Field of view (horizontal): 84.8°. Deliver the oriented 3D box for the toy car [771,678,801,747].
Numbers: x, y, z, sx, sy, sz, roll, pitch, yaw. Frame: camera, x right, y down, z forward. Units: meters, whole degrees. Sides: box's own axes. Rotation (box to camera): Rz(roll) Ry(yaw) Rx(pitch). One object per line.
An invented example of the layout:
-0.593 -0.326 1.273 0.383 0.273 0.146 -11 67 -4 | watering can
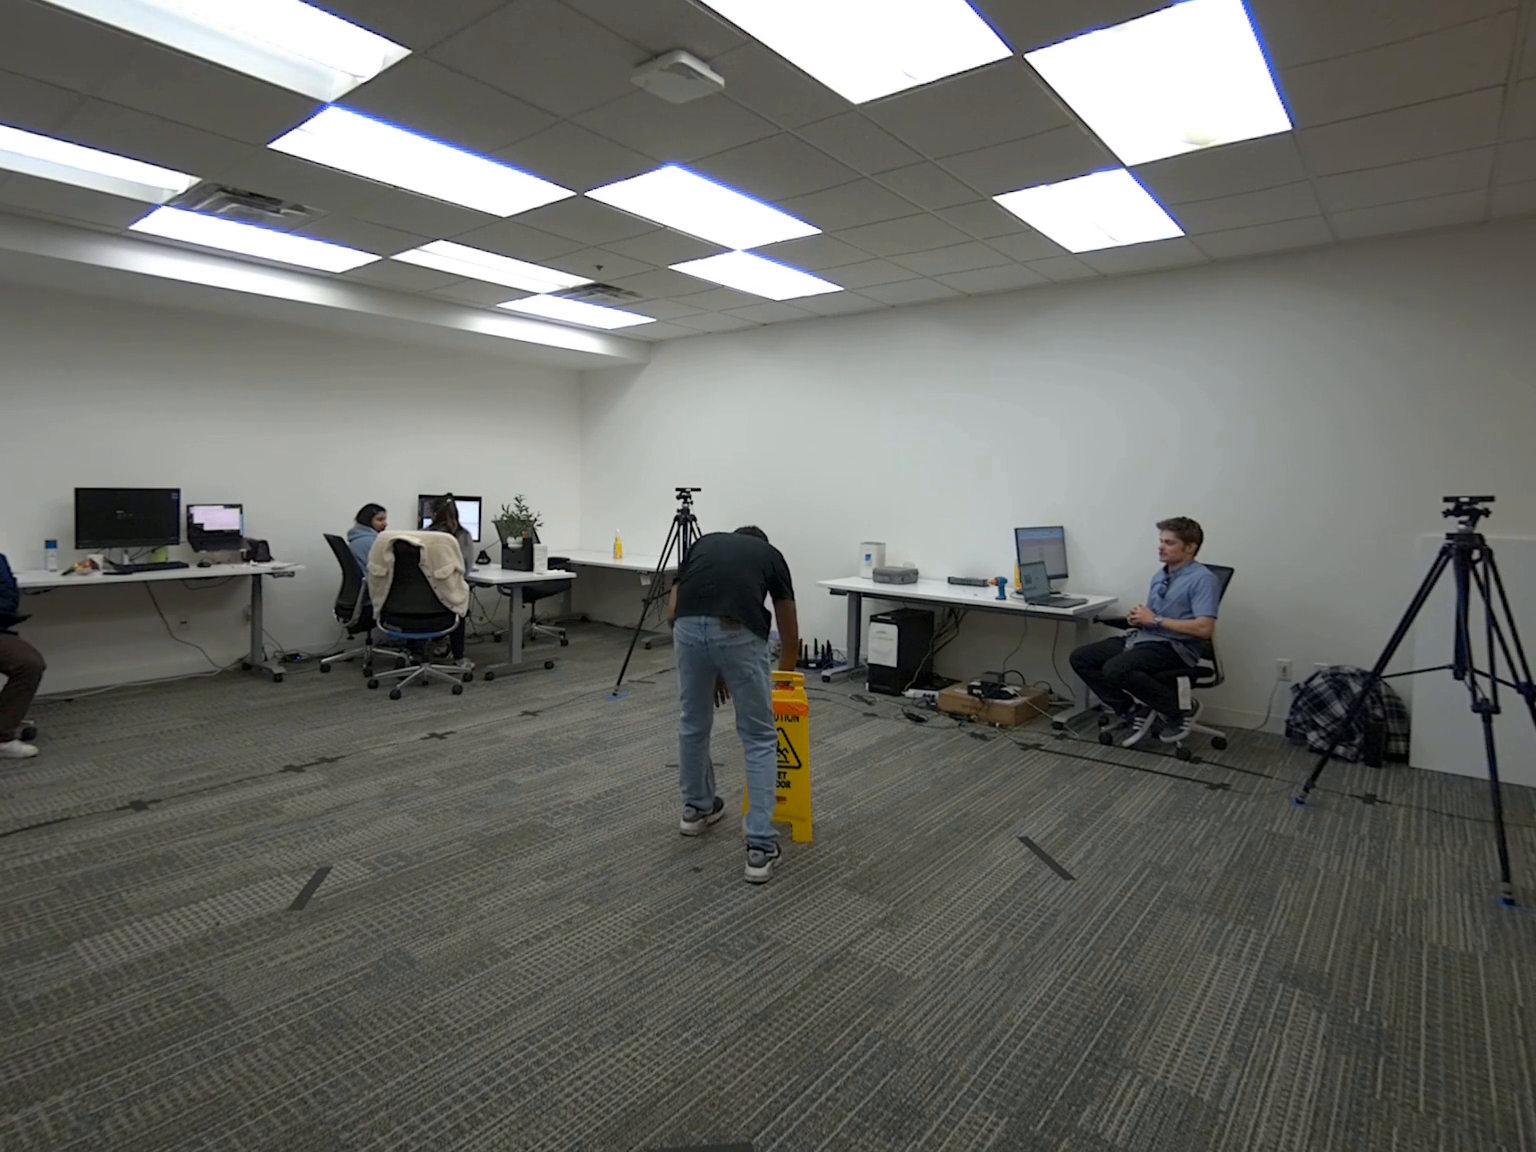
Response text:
0.051 0.573 3.546 0.130 0.254 0.083 7 2 0 | toy car
